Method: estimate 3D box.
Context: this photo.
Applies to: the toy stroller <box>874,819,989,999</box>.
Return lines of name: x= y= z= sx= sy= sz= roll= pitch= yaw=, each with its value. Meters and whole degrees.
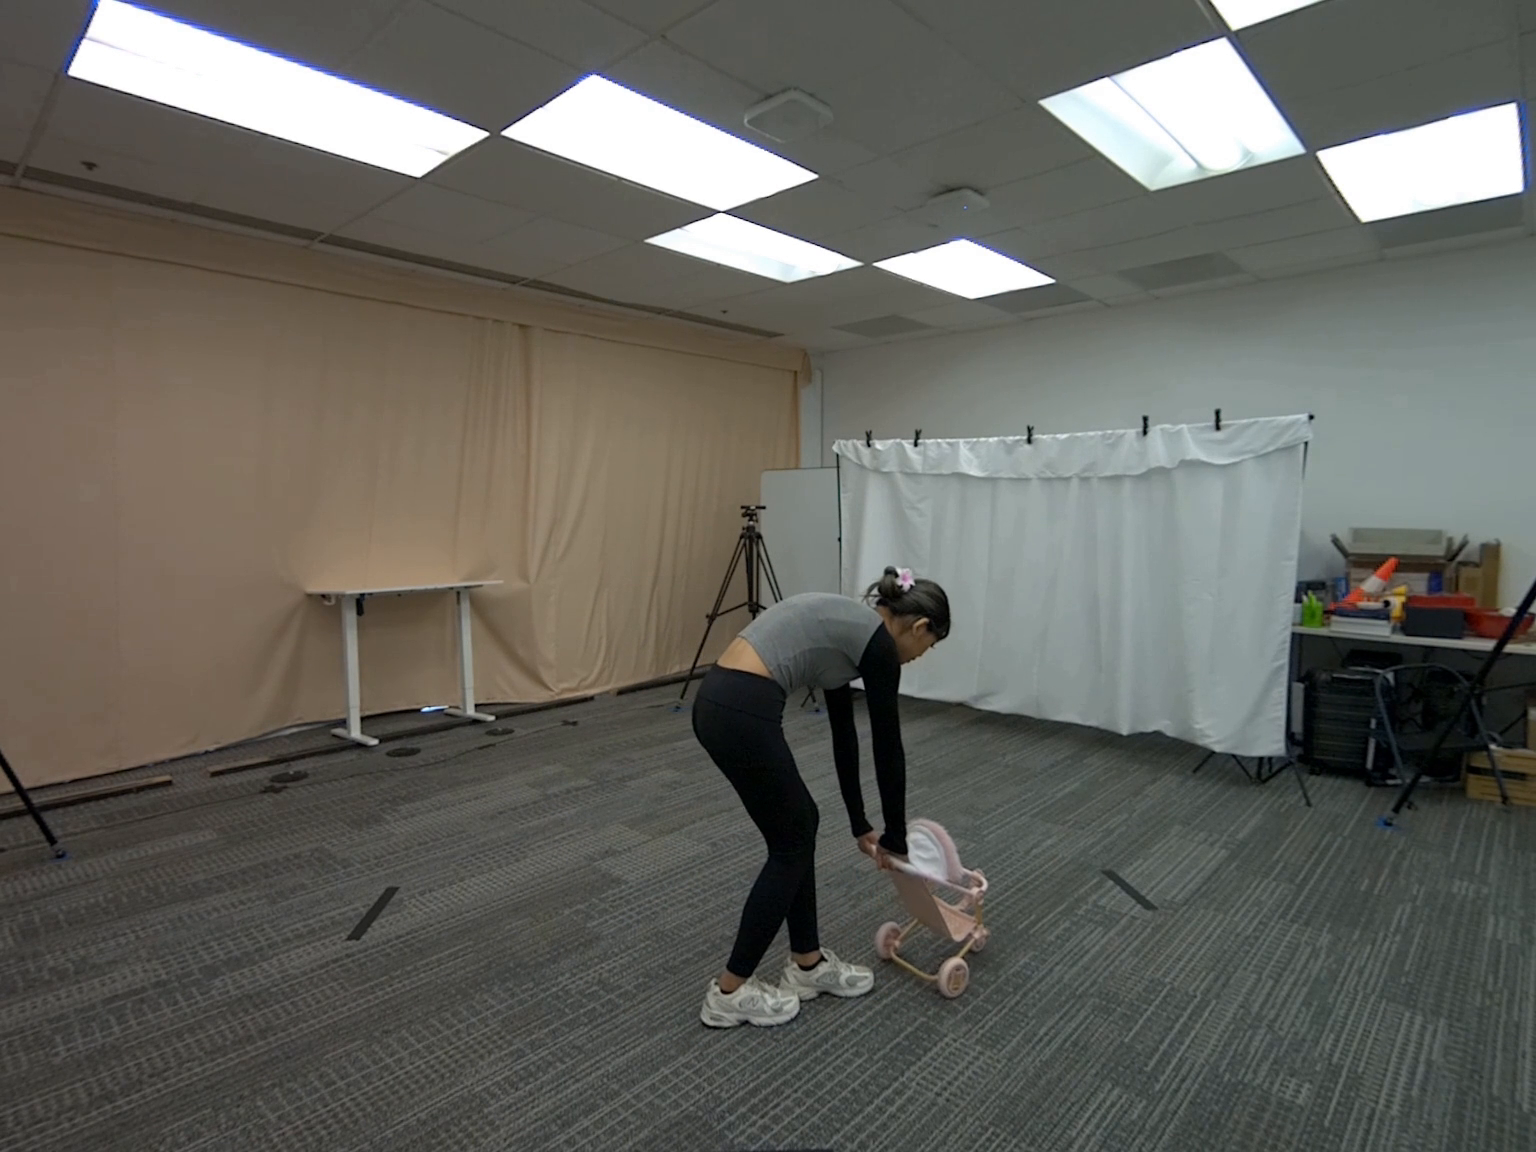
toy stroller: x=0.499 y=0.956 z=2.511 sx=0.334 sy=0.529 sz=0.290 roll=-21 pitch=14 yaw=-29
